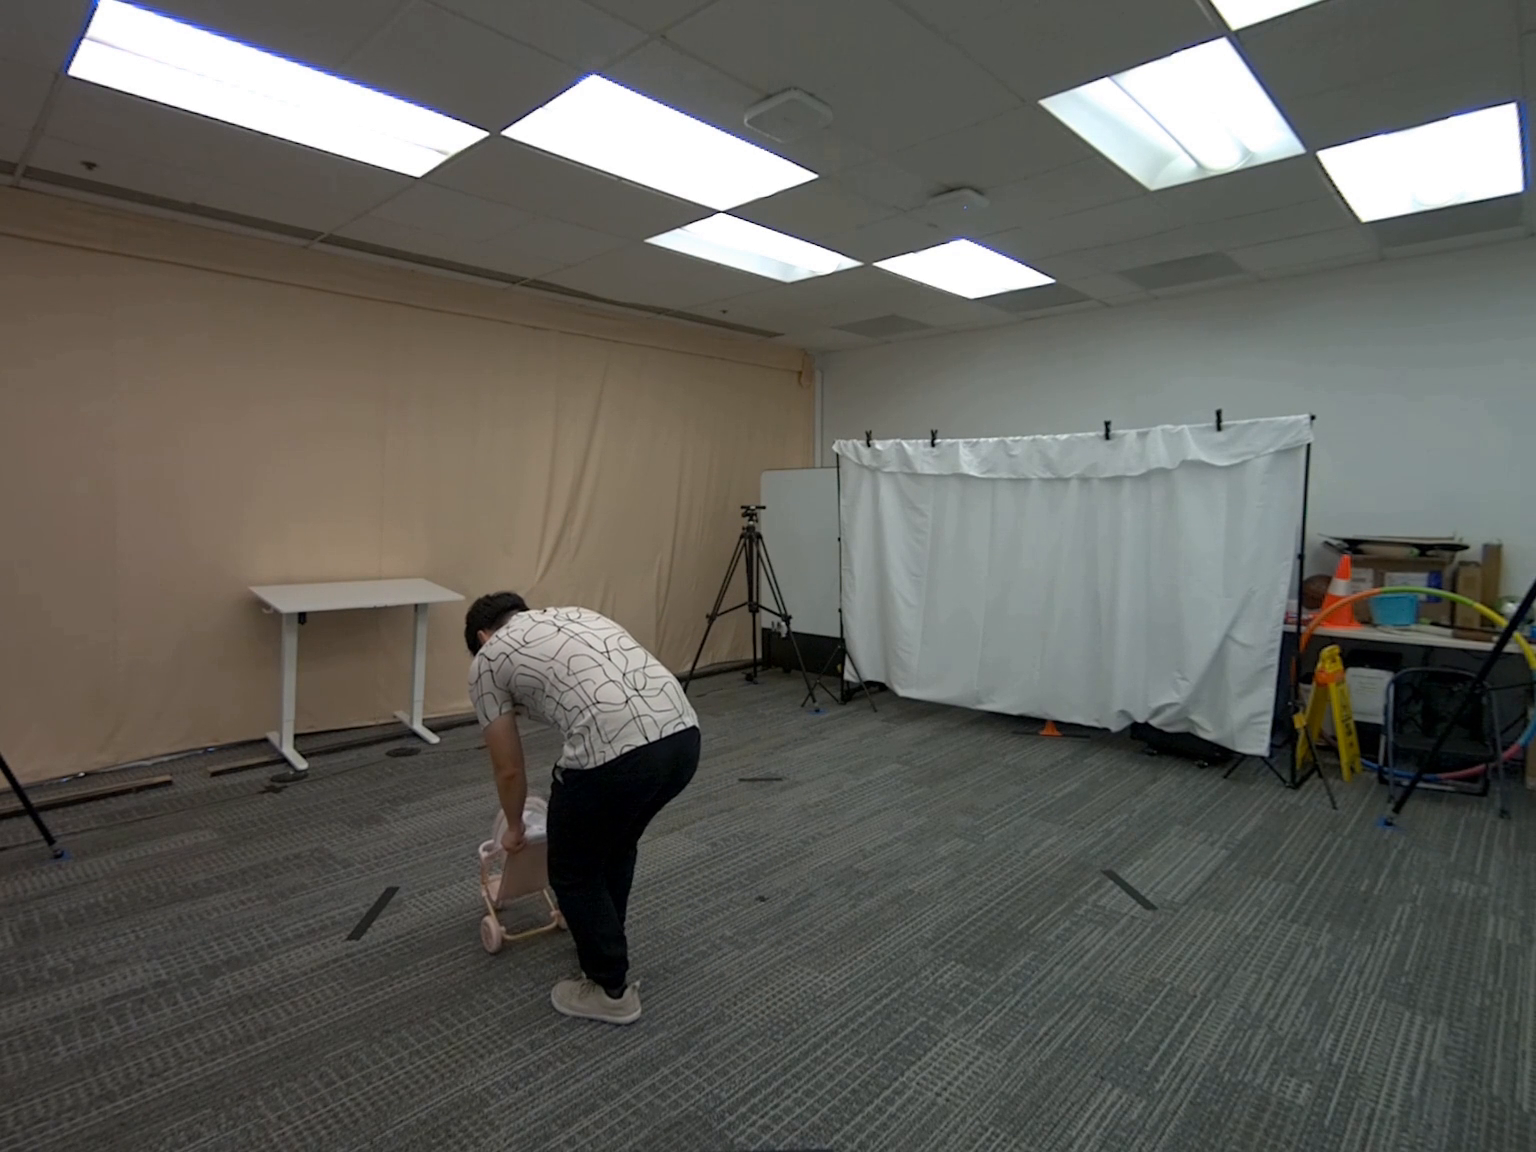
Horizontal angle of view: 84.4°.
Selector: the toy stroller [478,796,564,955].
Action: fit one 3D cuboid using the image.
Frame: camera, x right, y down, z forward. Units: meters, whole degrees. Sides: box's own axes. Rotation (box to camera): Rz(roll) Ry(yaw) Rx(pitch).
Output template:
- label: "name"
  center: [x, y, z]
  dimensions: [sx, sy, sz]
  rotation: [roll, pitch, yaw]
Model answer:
- label: "toy stroller"
  center: [-0.804, 0.947, 2.748]
  dimensions: [0.273, 0.531, 0.354]
  rotation: [-1, 22, -34]
